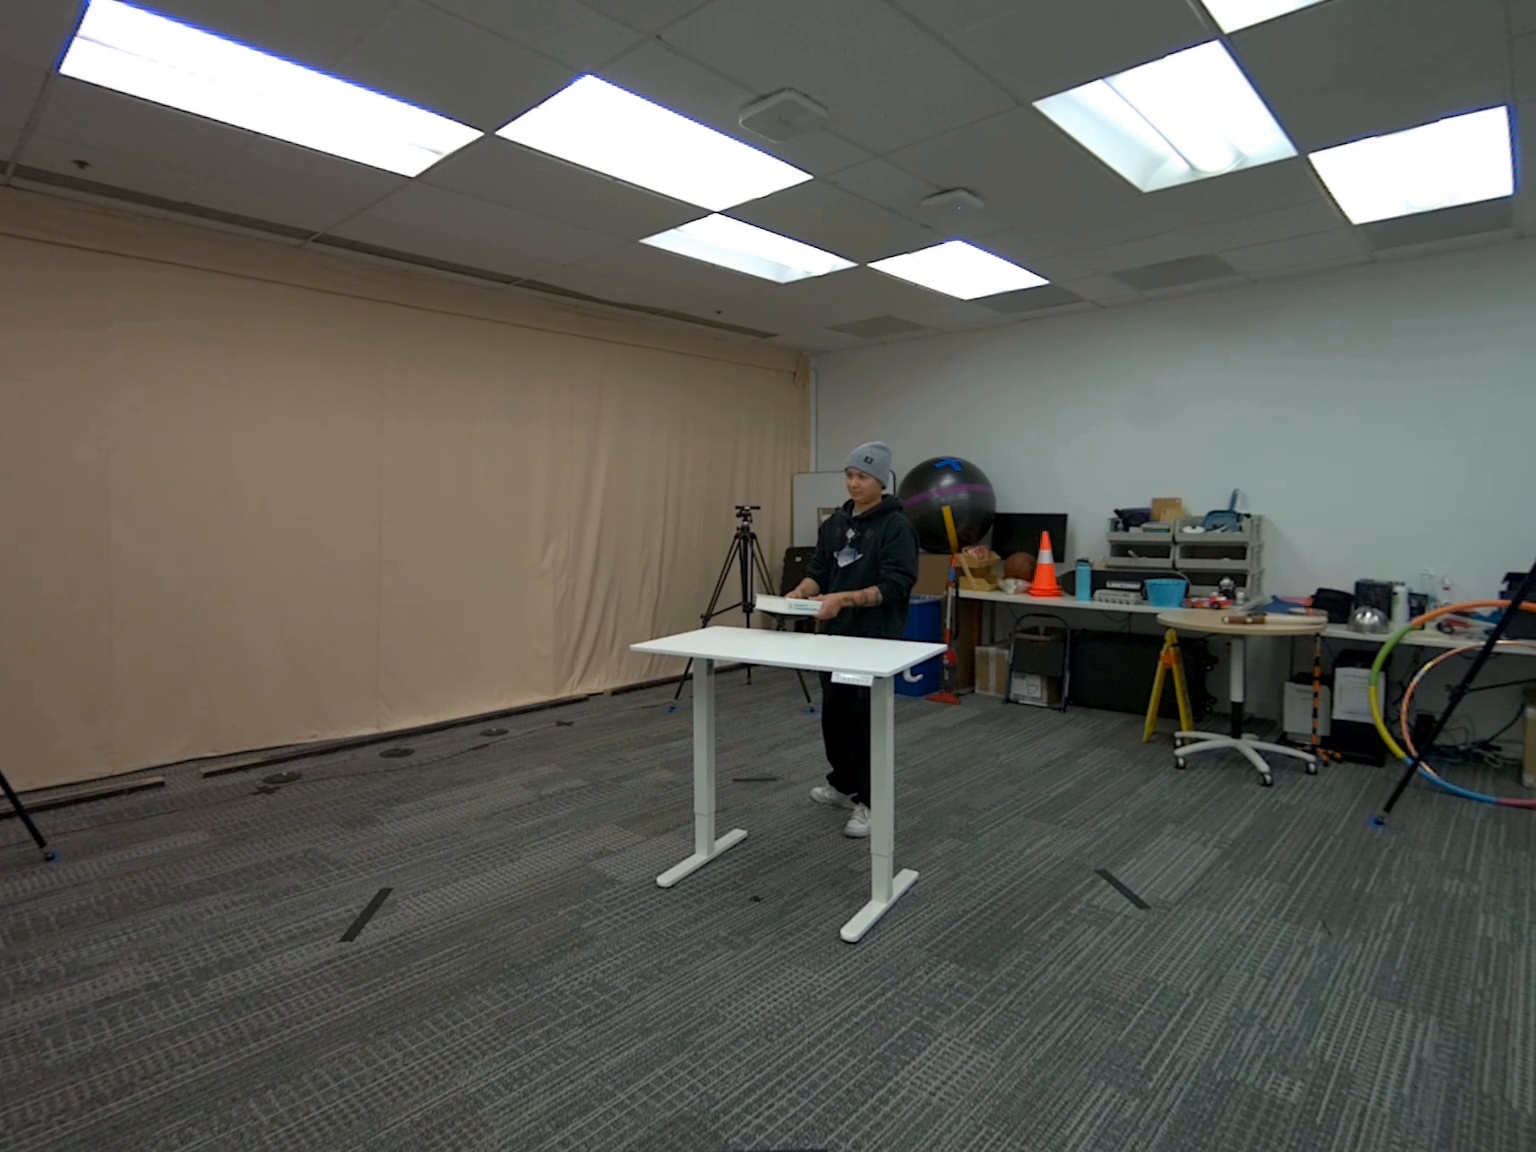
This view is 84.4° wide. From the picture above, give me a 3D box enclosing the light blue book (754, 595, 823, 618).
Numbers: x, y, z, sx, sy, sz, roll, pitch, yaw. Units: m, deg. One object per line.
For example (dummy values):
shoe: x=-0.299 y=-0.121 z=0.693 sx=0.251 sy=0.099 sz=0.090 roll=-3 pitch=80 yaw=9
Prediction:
light blue book: x=0.106 y=0.124 z=3.447 sx=0.252 sy=0.059 sz=0.197 roll=7 pitch=0 yaw=-37
